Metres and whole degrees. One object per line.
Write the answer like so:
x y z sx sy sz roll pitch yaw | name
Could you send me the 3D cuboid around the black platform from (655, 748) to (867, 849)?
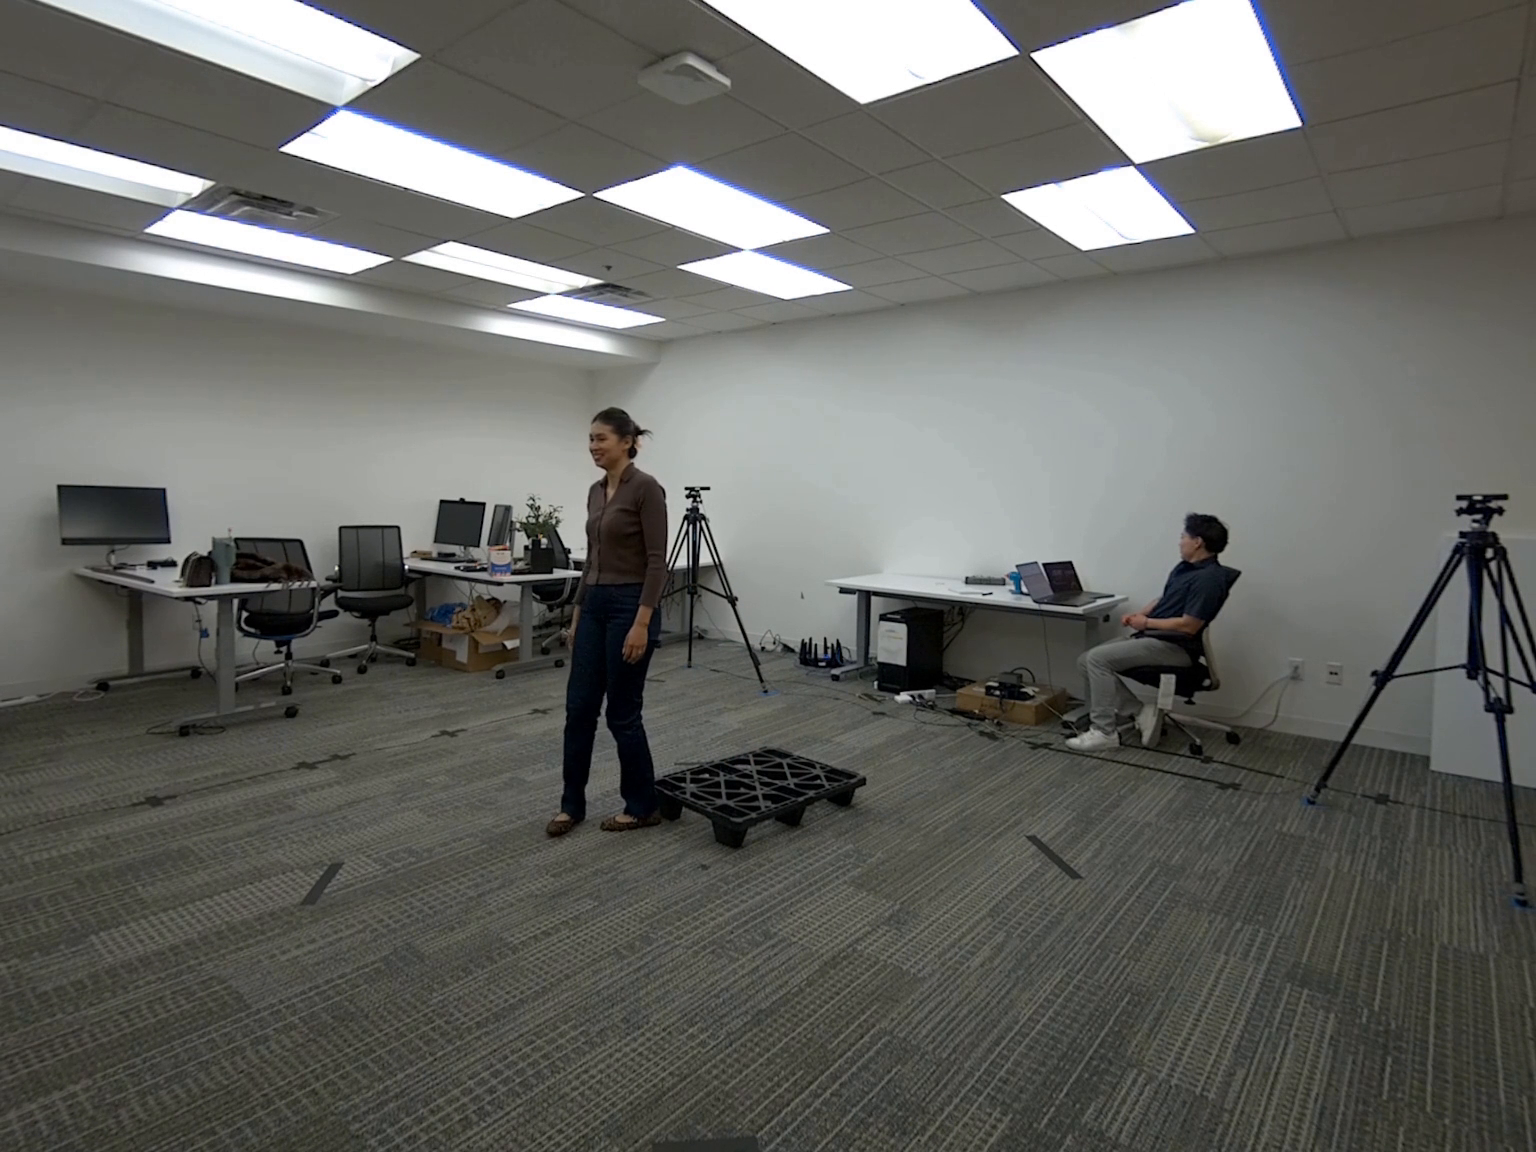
-0.052 0.944 3.692 0.781 0.143 0.626 -5 8 -44 | black platform
